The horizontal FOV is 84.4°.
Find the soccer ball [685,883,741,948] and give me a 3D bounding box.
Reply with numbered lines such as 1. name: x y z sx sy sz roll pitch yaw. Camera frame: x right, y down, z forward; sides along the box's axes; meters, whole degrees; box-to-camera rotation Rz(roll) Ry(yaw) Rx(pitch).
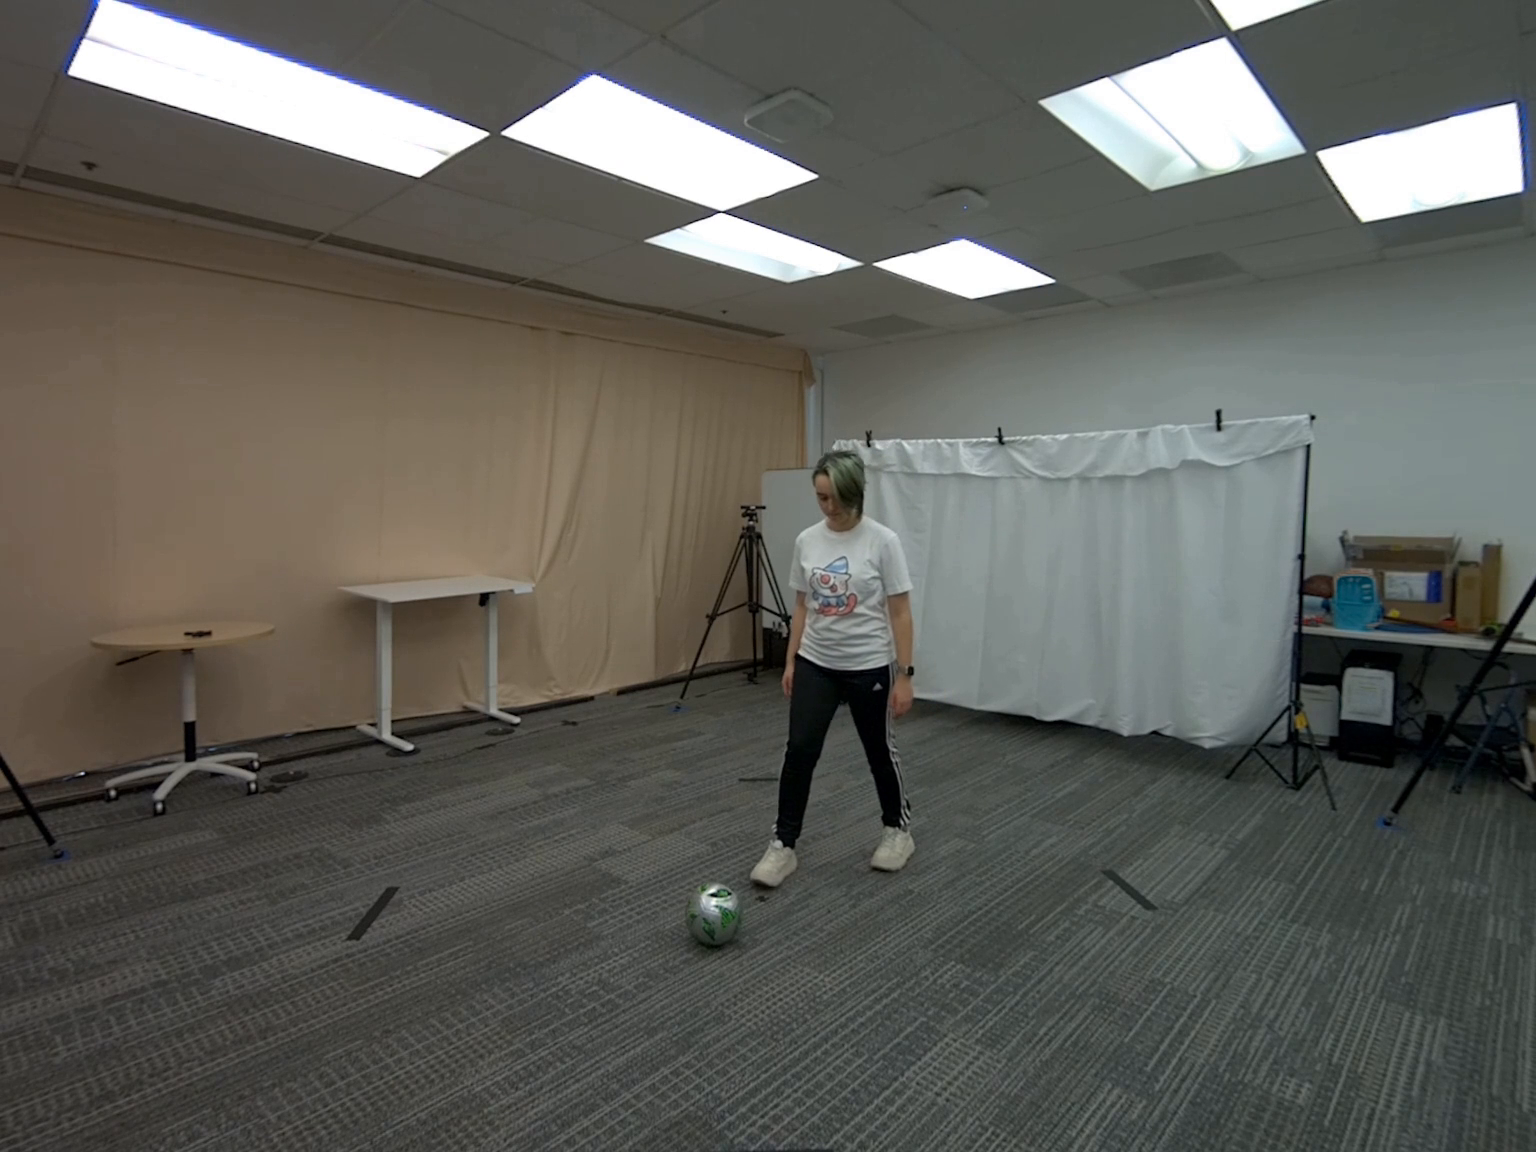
1. soccer ball: -0.172 1.075 2.684 0.187 0.187 0.188 0 4 -2
